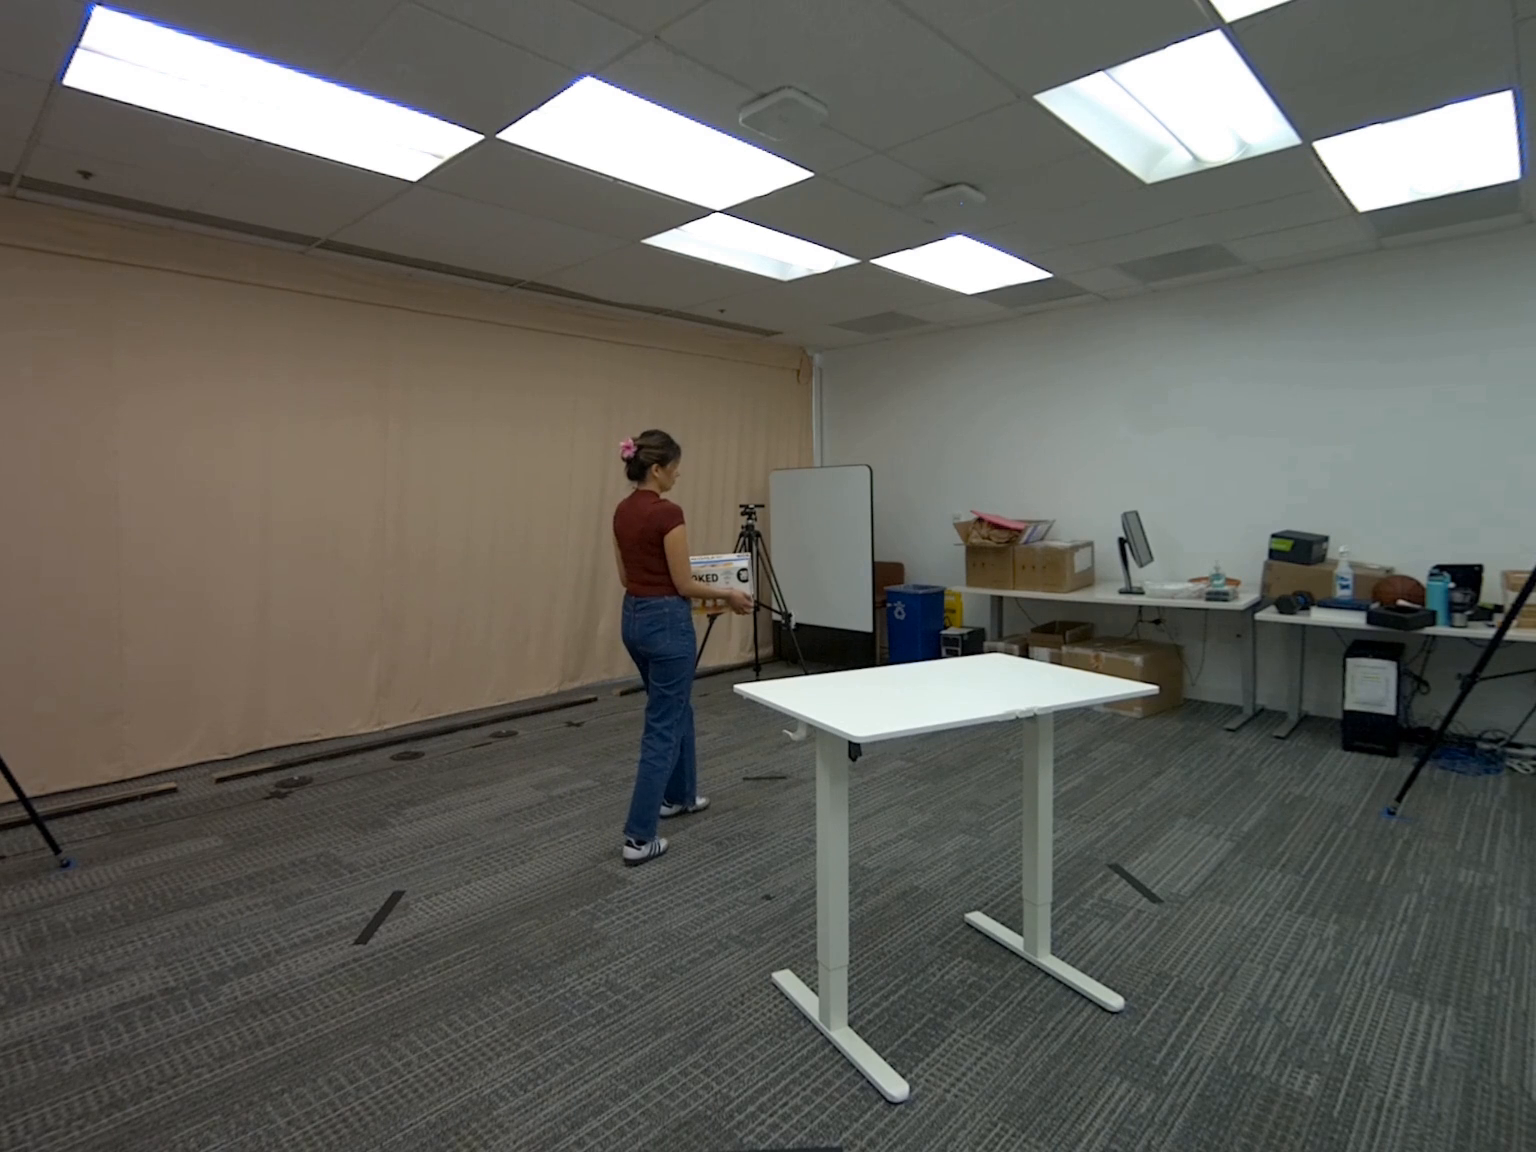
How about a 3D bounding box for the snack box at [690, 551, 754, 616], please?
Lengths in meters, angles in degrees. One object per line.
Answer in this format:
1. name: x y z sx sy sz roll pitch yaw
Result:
1. snack box: -0.282 0.032 3.784 0.407 0.204 0.341 -4 10 3
